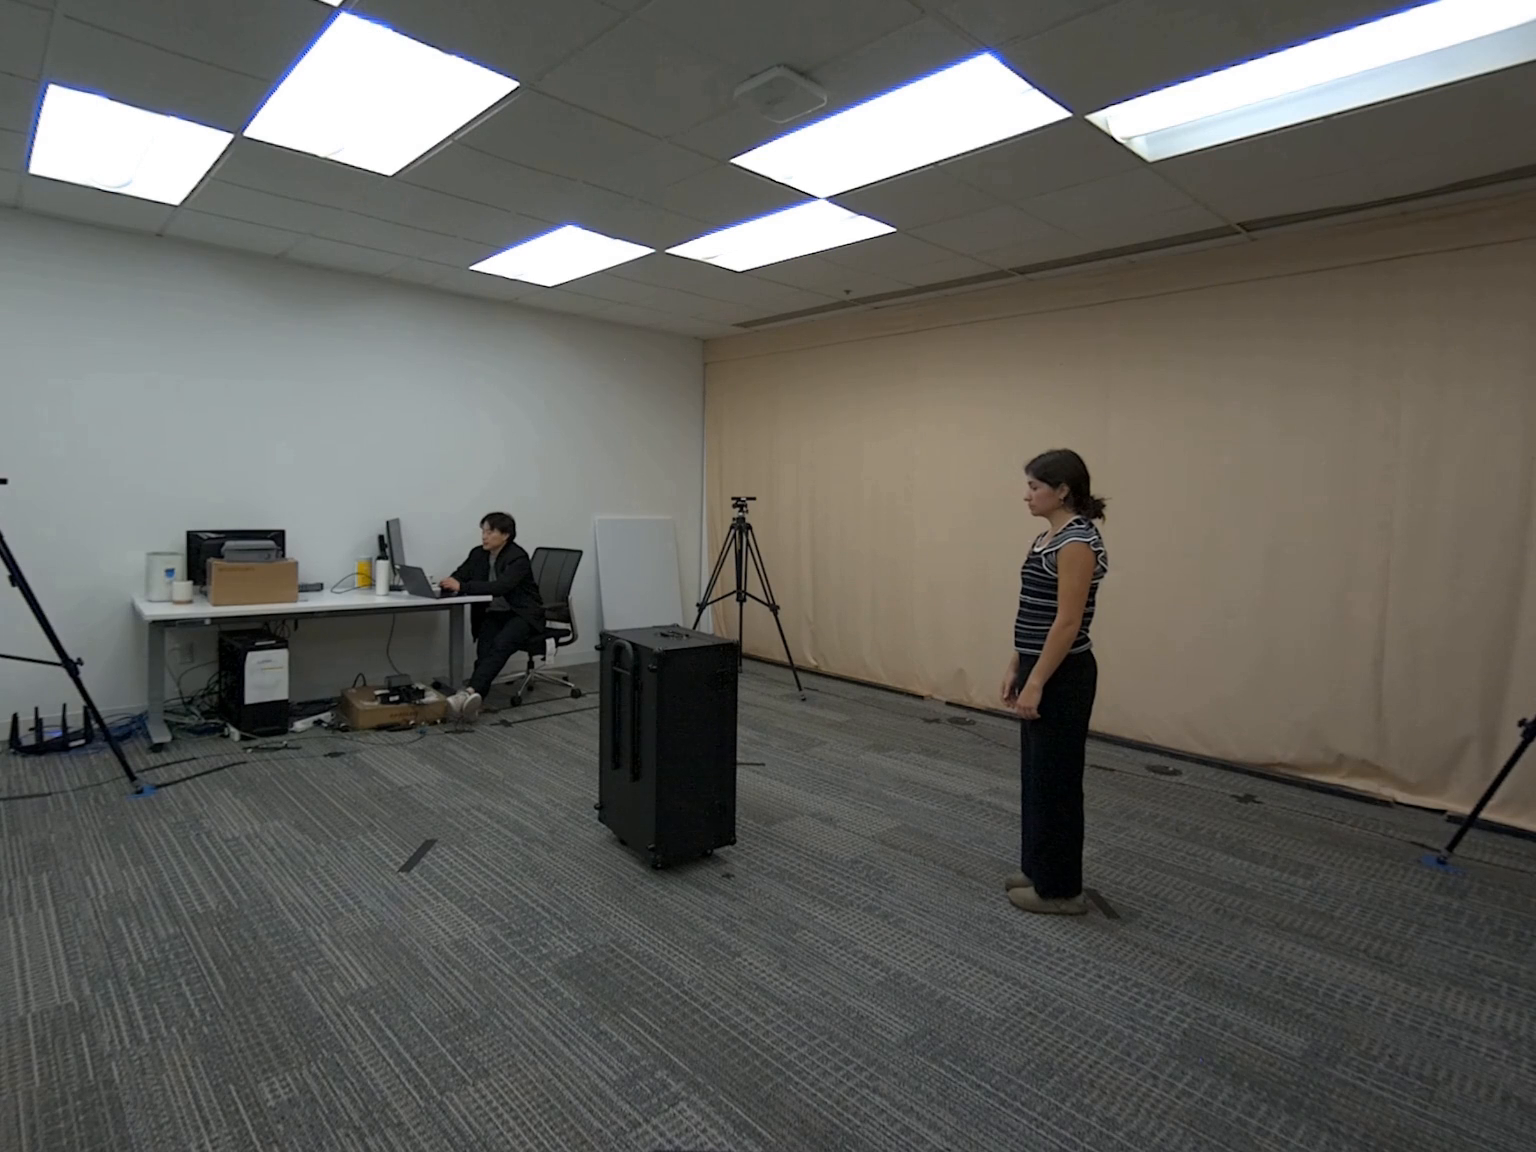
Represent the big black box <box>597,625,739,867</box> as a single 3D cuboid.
[{"bbox_3d":[-0.409,0.654,3.289,0.388,0.859,0.534,-3,5,-35],"label":"big black box"}]
